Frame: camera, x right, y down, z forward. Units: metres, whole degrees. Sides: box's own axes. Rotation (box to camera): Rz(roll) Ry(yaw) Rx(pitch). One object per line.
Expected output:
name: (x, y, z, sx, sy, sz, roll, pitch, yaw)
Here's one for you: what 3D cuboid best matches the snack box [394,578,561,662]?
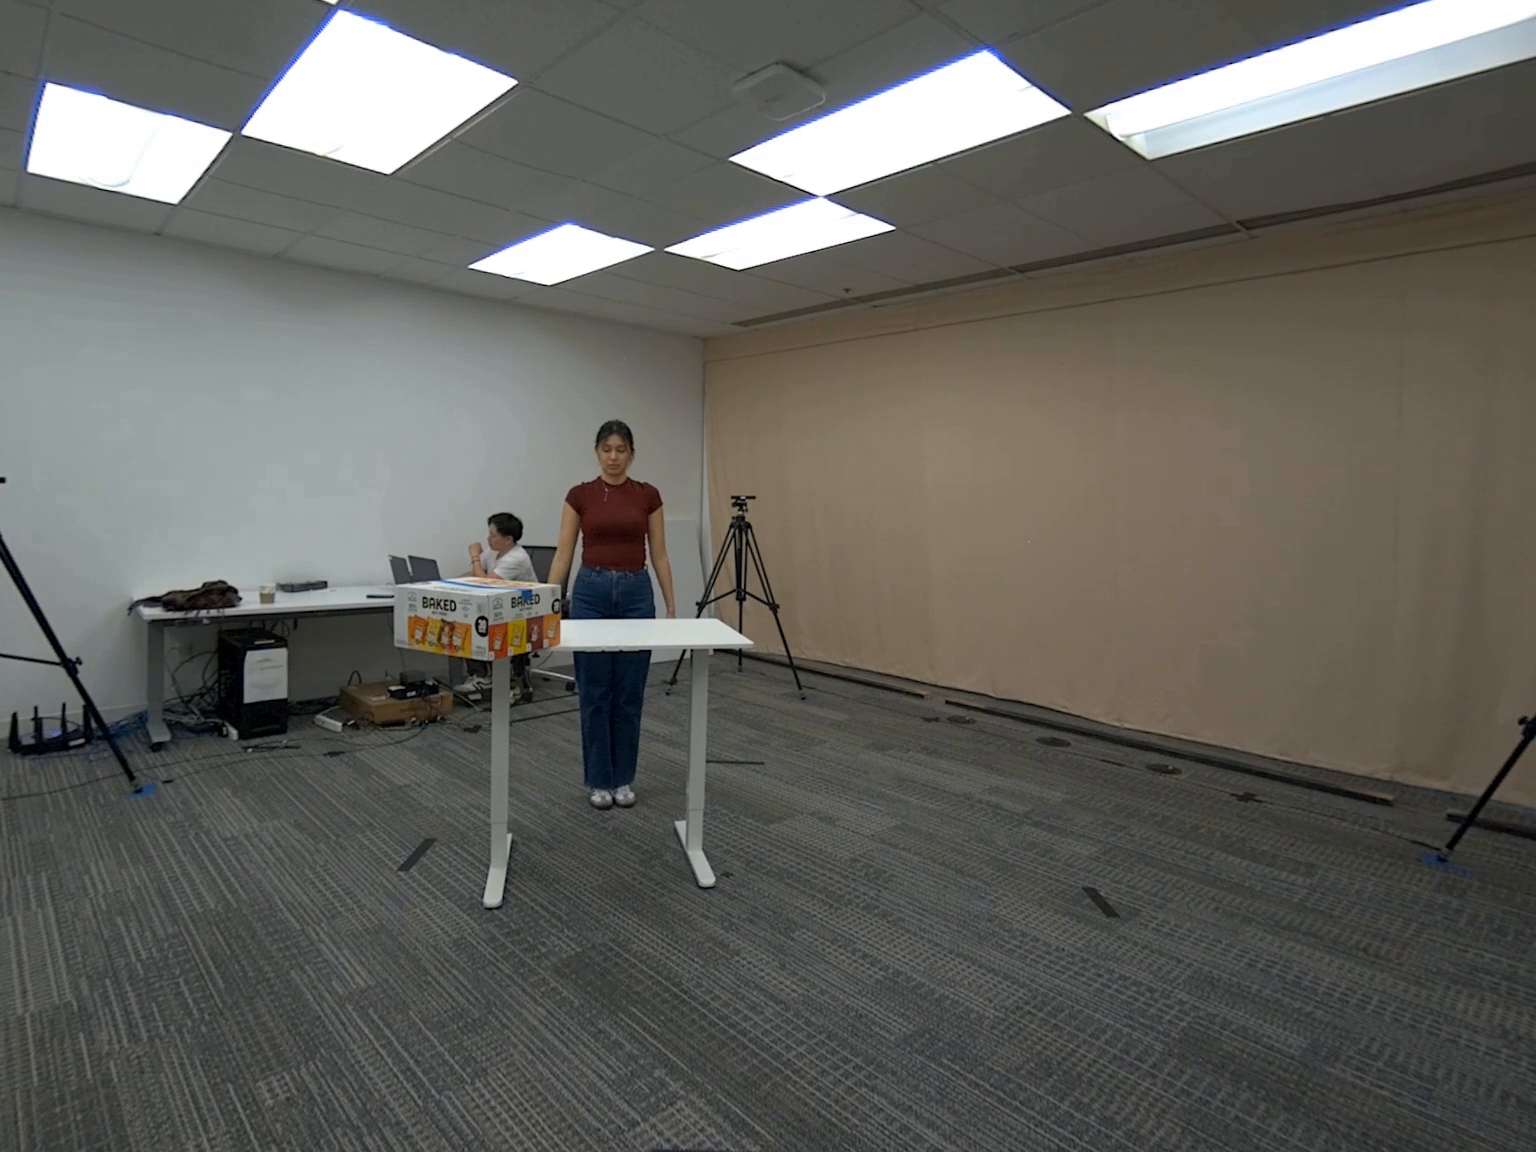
snack box: (-0.958, 0.131, 2.776, 0.413, 0.205, 0.334, 4, 5, 27)
